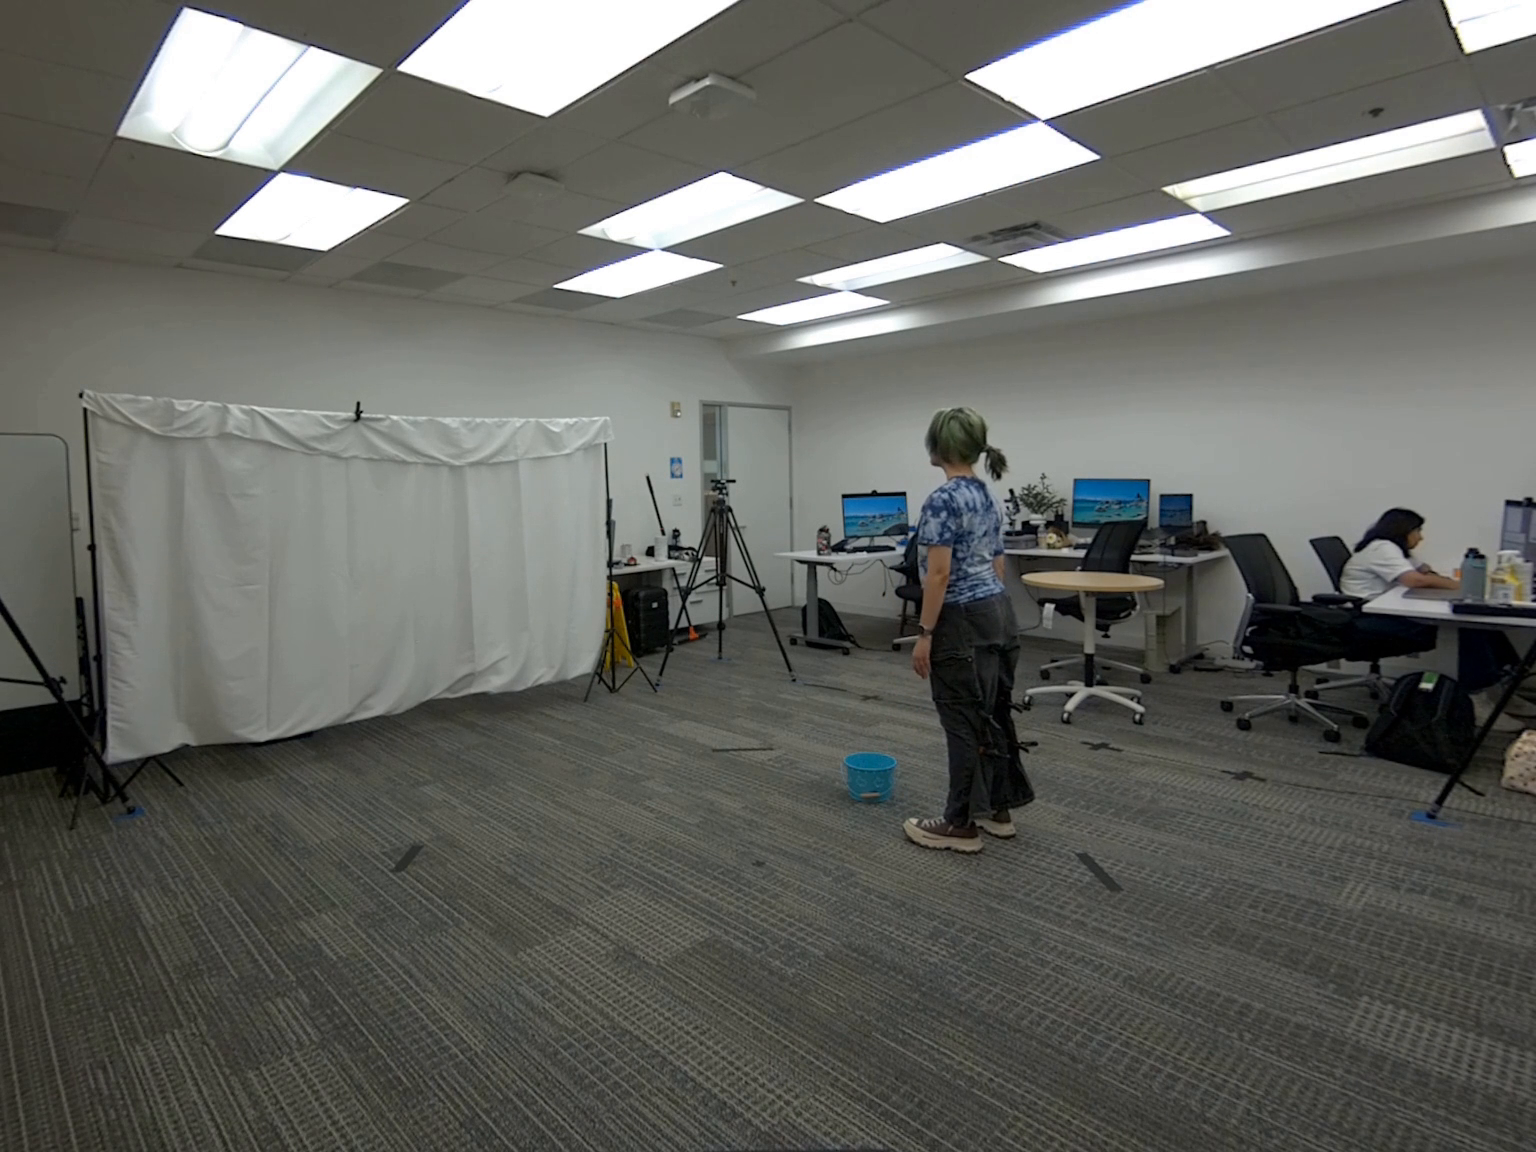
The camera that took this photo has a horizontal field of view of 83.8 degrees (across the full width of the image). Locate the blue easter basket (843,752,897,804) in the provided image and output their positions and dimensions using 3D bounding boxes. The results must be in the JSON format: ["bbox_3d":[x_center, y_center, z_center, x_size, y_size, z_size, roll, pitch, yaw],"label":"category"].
[{"bbox_3d":[0.448,0.888,3.766,0.243,0.155,0.245,-2,5,-2],"label":"blue easter basket"}]
